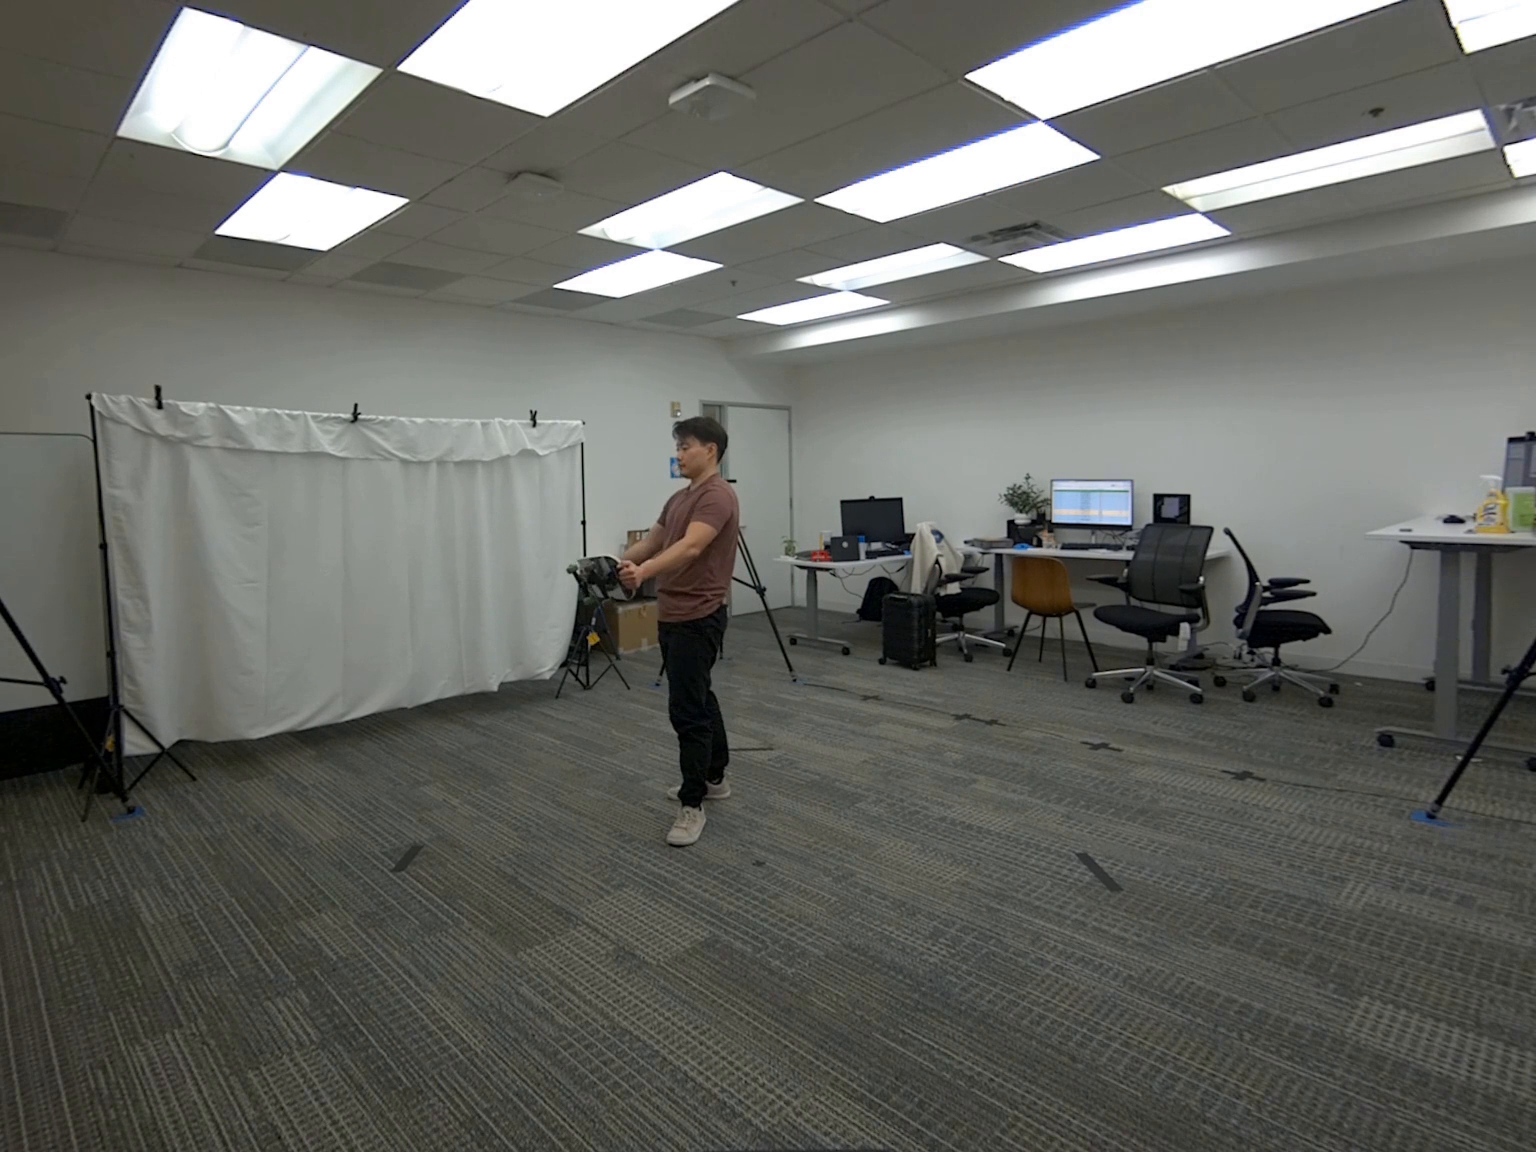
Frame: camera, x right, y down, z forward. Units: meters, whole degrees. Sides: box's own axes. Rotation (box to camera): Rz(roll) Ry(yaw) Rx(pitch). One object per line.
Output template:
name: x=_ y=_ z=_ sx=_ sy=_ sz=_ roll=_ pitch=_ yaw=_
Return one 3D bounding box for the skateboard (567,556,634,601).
skateboard: x=-0.686 y=0.026 z=3.435 sx=0.110 sy=0.191 sz=0.800 roll=-39 pitch=14 yaw=-21
